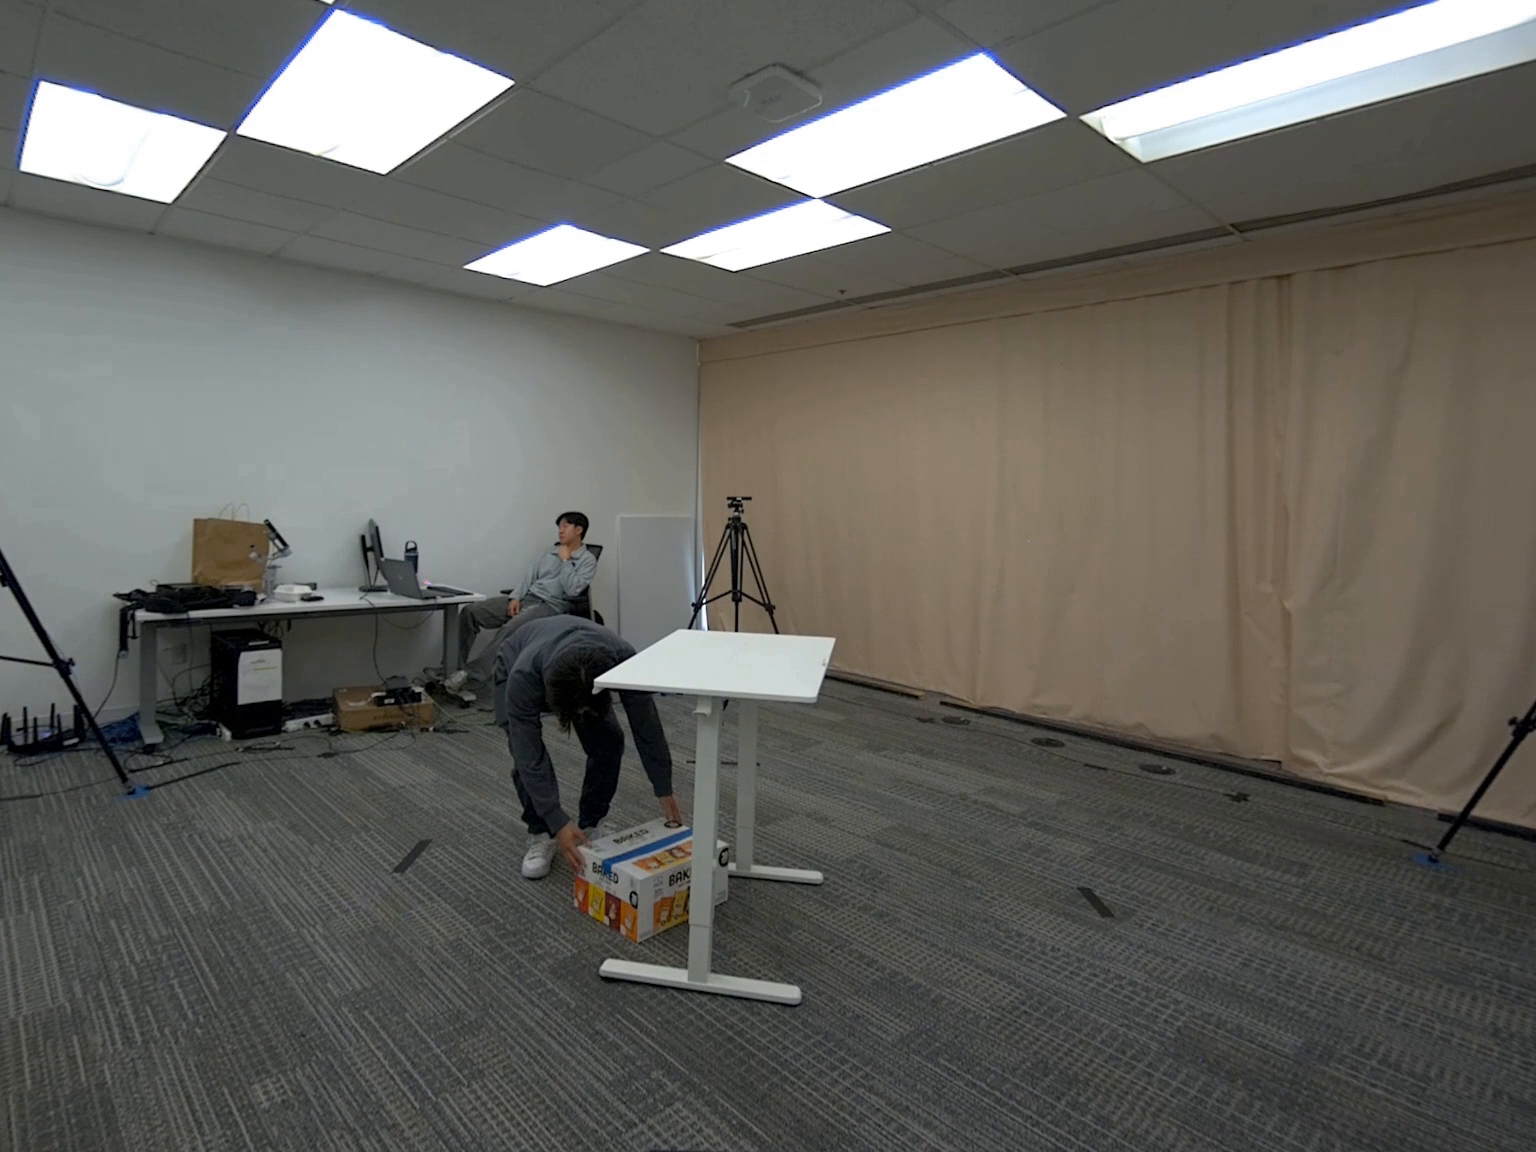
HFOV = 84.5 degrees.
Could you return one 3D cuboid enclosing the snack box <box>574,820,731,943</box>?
[{"bbox_3d":[-0.403,1.020,2.868,0.349,0.205,0.396,6,7,42],"label":"snack box"}]
